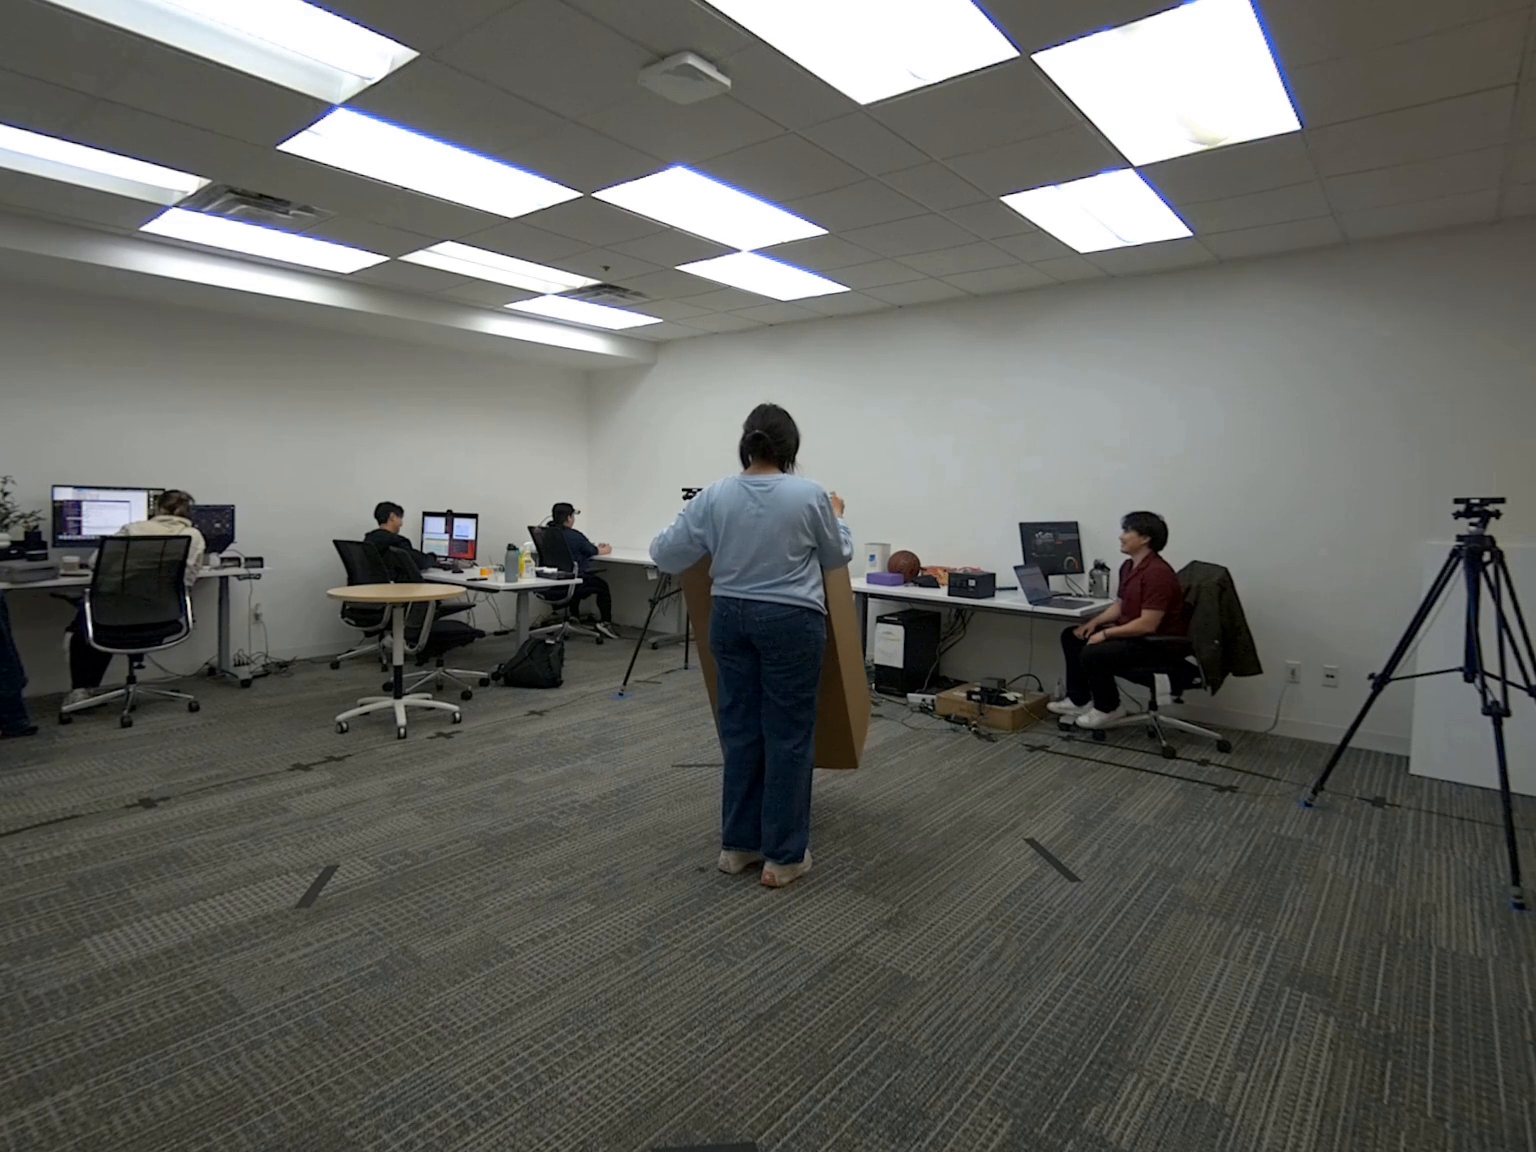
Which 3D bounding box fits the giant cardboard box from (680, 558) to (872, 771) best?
[{"bbox_3d":[0.033,0.246,3.525,0.596,1.004,0.448,-3,22,20],"label":"giant cardboard box"}]
